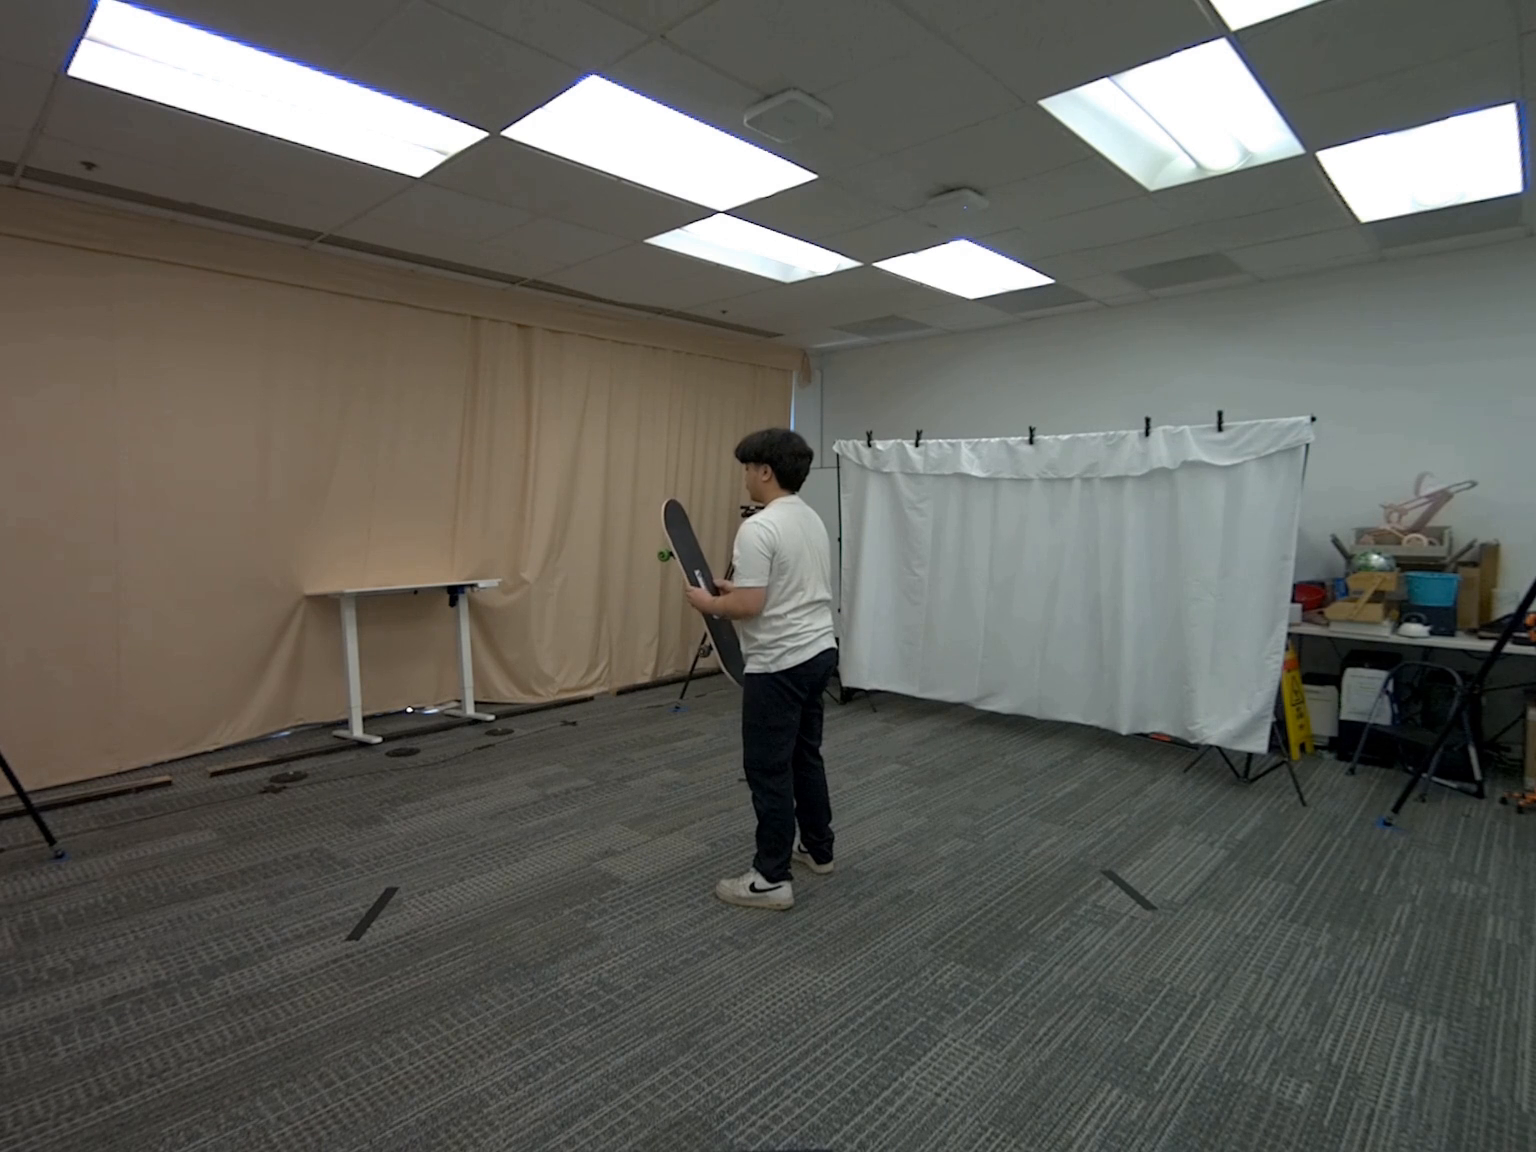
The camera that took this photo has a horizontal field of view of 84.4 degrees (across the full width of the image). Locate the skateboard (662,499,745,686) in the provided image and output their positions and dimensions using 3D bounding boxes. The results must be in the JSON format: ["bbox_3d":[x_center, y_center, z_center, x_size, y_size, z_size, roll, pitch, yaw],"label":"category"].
[{"bbox_3d":[-0.265,0.088,3.257,0.112,0.791,0.189,-27,-7,27],"label":"skateboard"}]
